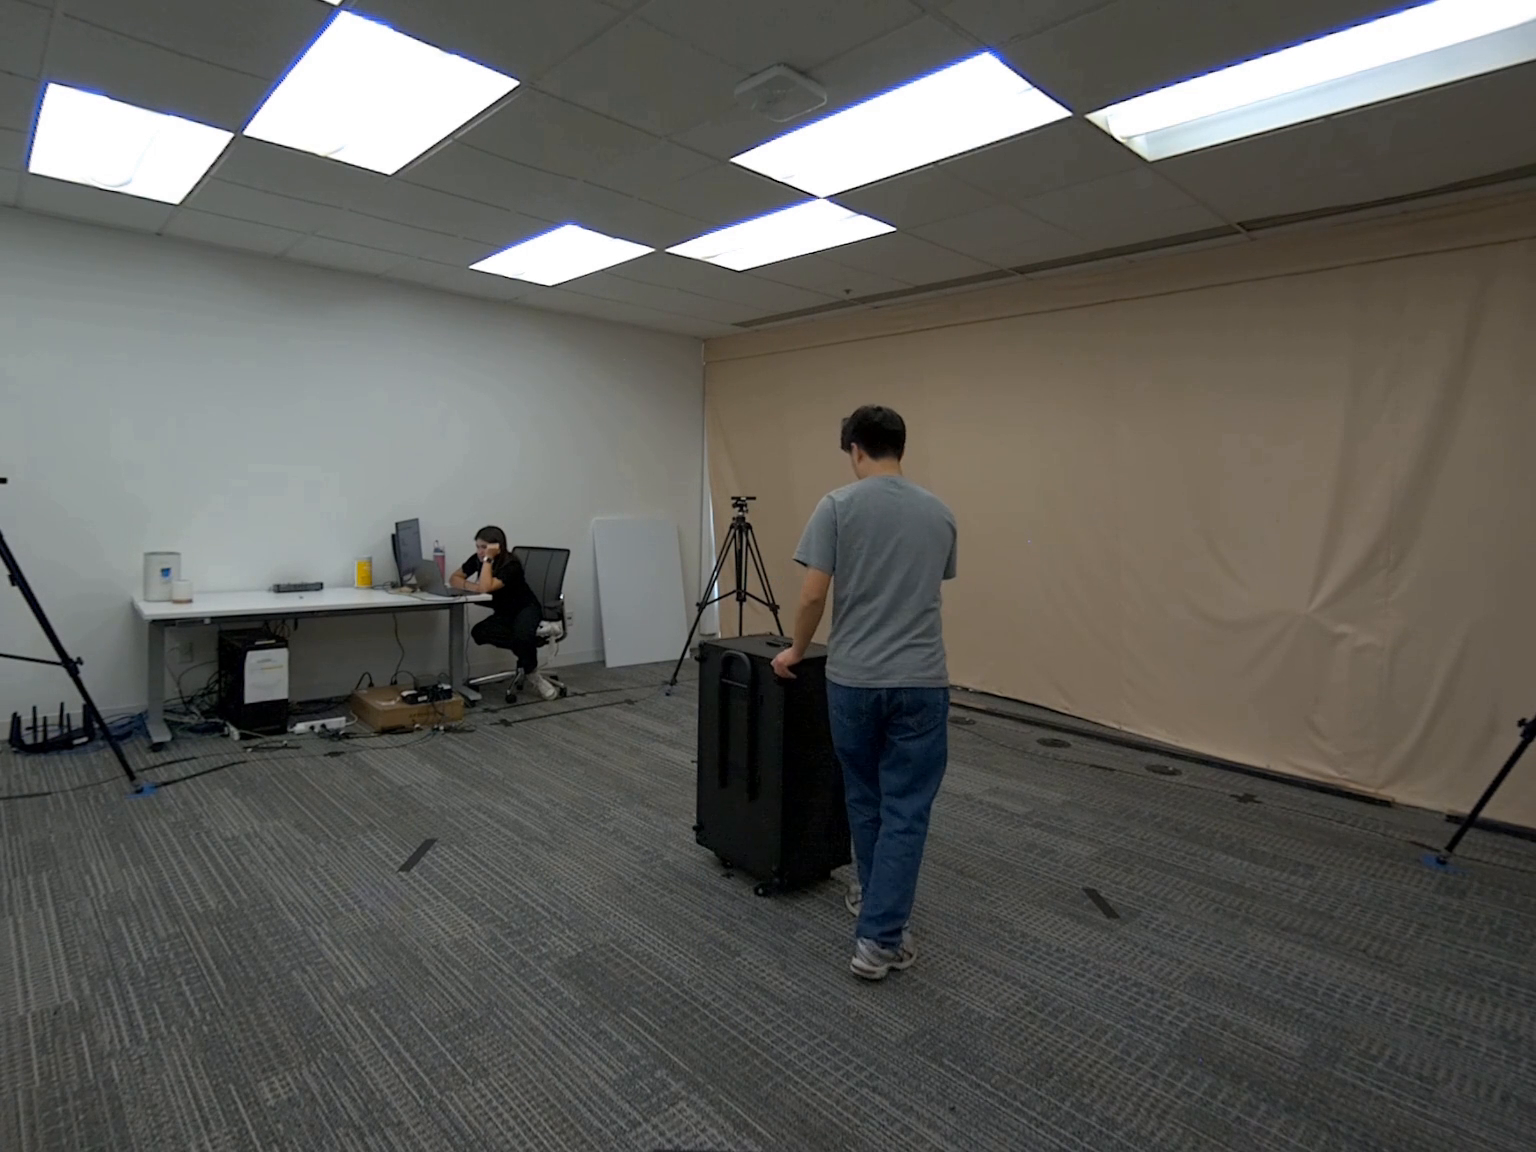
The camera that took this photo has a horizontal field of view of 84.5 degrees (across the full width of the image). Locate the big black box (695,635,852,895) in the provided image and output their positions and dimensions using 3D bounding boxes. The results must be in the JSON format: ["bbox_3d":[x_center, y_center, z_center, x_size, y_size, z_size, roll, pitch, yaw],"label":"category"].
[{"bbox_3d":[0.012,0.682,3.114,0.387,0.859,0.534,-2,5,-40],"label":"big black box"}]
